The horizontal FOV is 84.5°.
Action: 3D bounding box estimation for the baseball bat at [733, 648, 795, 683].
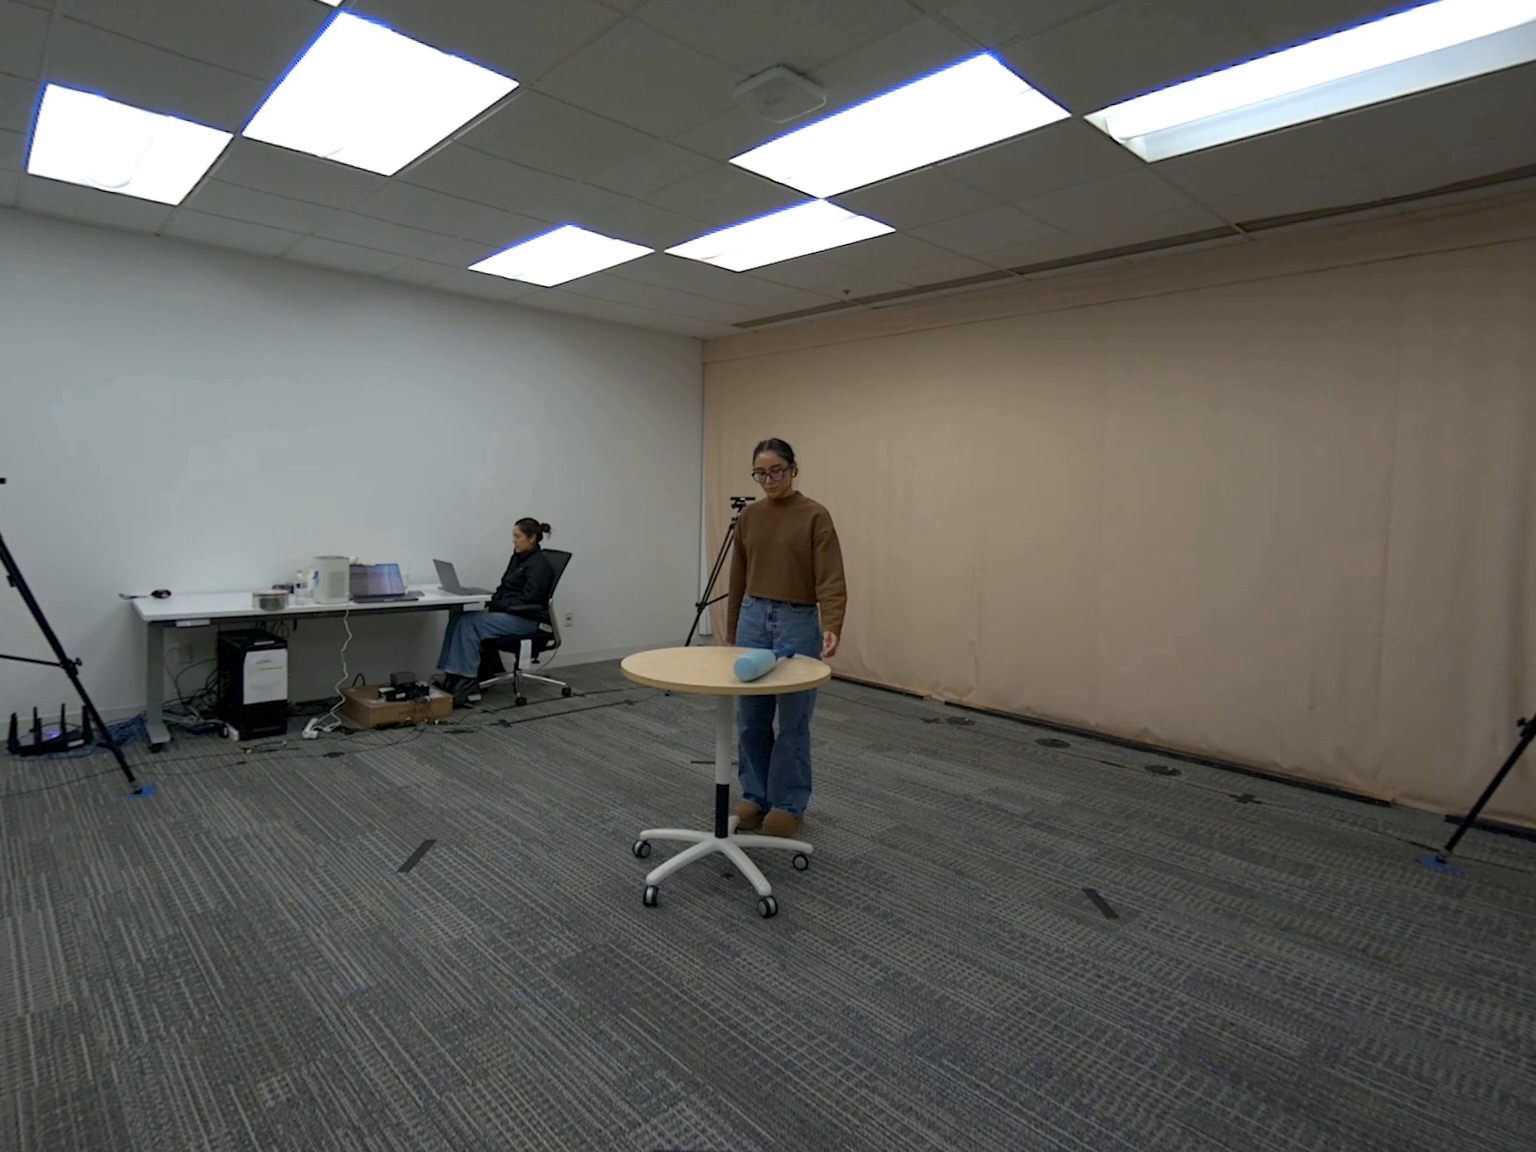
[{"bbox_3d":[-0.007,0.304,3.013,0.090,0.089,0.536,3,2,15],"label":"baseball bat"}]
